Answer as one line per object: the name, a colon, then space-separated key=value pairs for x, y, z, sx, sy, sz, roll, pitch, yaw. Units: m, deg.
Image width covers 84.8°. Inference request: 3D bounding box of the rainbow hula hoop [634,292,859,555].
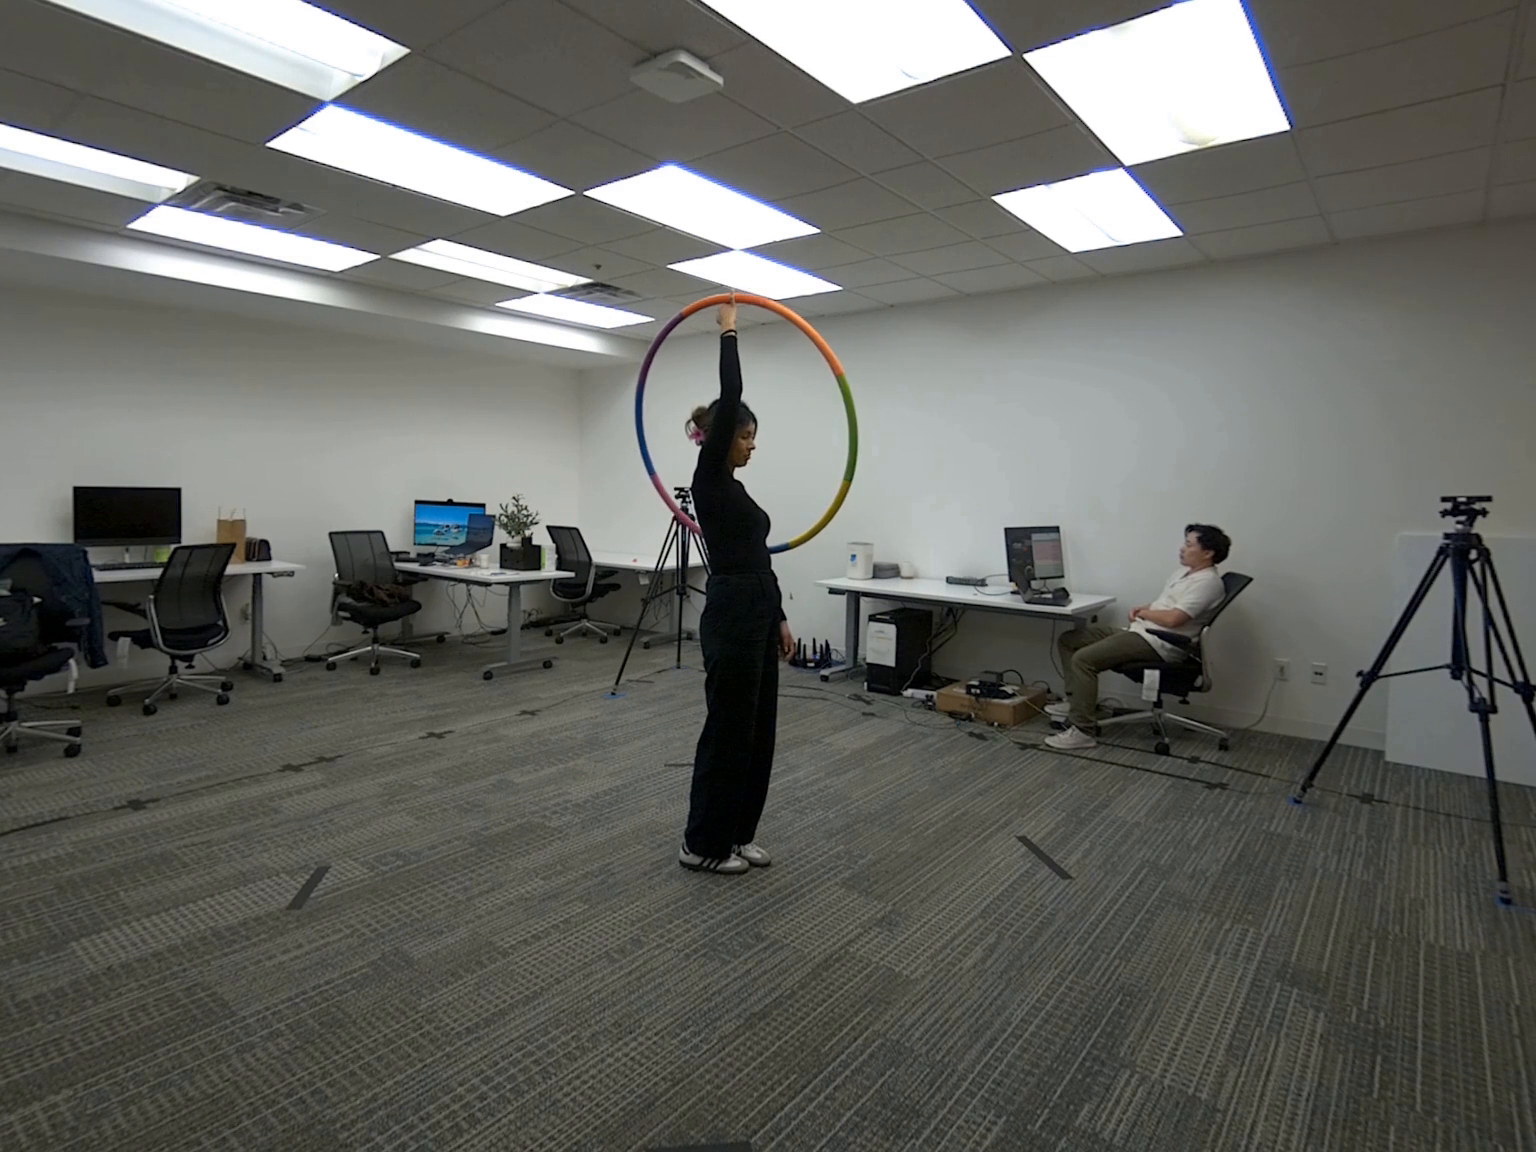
rainbow hula hoop: x=-0.128 y=-0.560 z=3.216 sx=1.016 sy=0.969 sz=0.051 roll=4 pitch=18 yaw=33
